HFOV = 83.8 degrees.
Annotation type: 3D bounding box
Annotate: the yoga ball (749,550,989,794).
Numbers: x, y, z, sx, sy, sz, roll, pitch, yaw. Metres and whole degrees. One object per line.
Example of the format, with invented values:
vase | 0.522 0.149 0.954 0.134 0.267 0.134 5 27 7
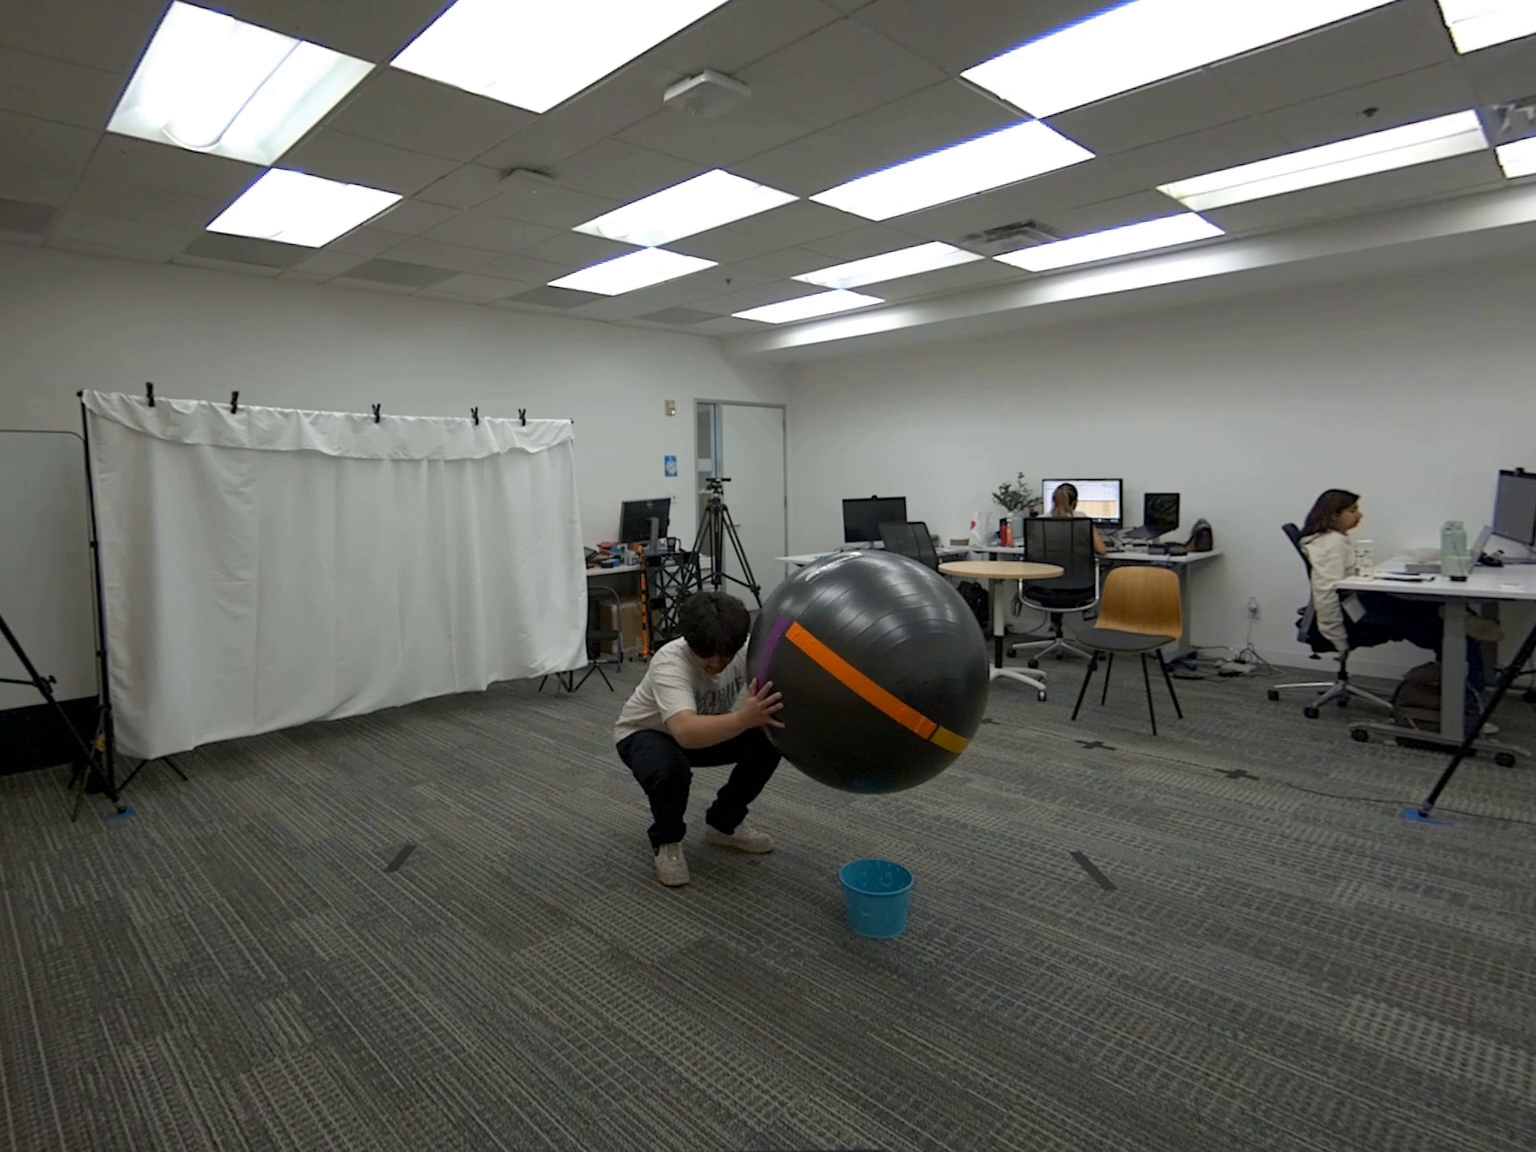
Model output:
yoga ball | 0.314 0.303 2.705 0.757 0.755 0.762 -1 5 -2
